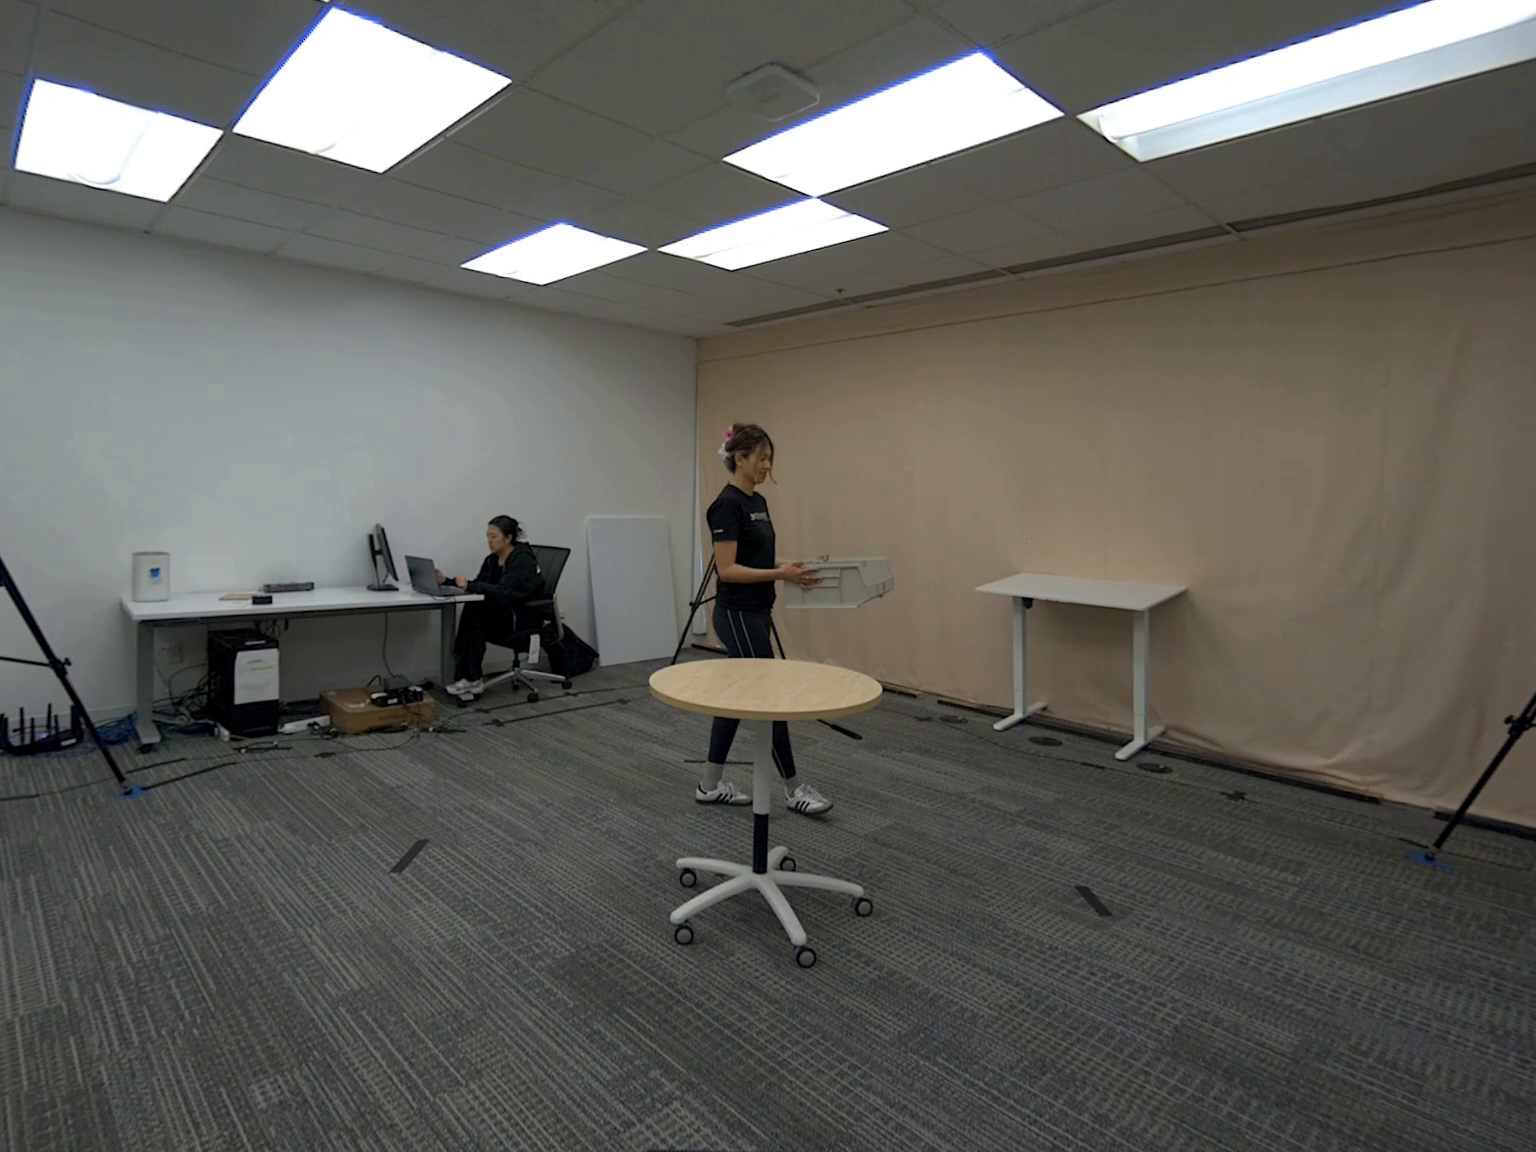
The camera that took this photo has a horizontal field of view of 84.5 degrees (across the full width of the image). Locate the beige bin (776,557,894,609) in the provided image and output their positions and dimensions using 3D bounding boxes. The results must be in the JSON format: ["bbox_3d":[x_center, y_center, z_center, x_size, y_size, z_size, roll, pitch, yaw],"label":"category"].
[{"bbox_3d":[0.305,0.031,3.607,0.384,0.188,0.416,-4,4,25],"label":"beige bin"}]
